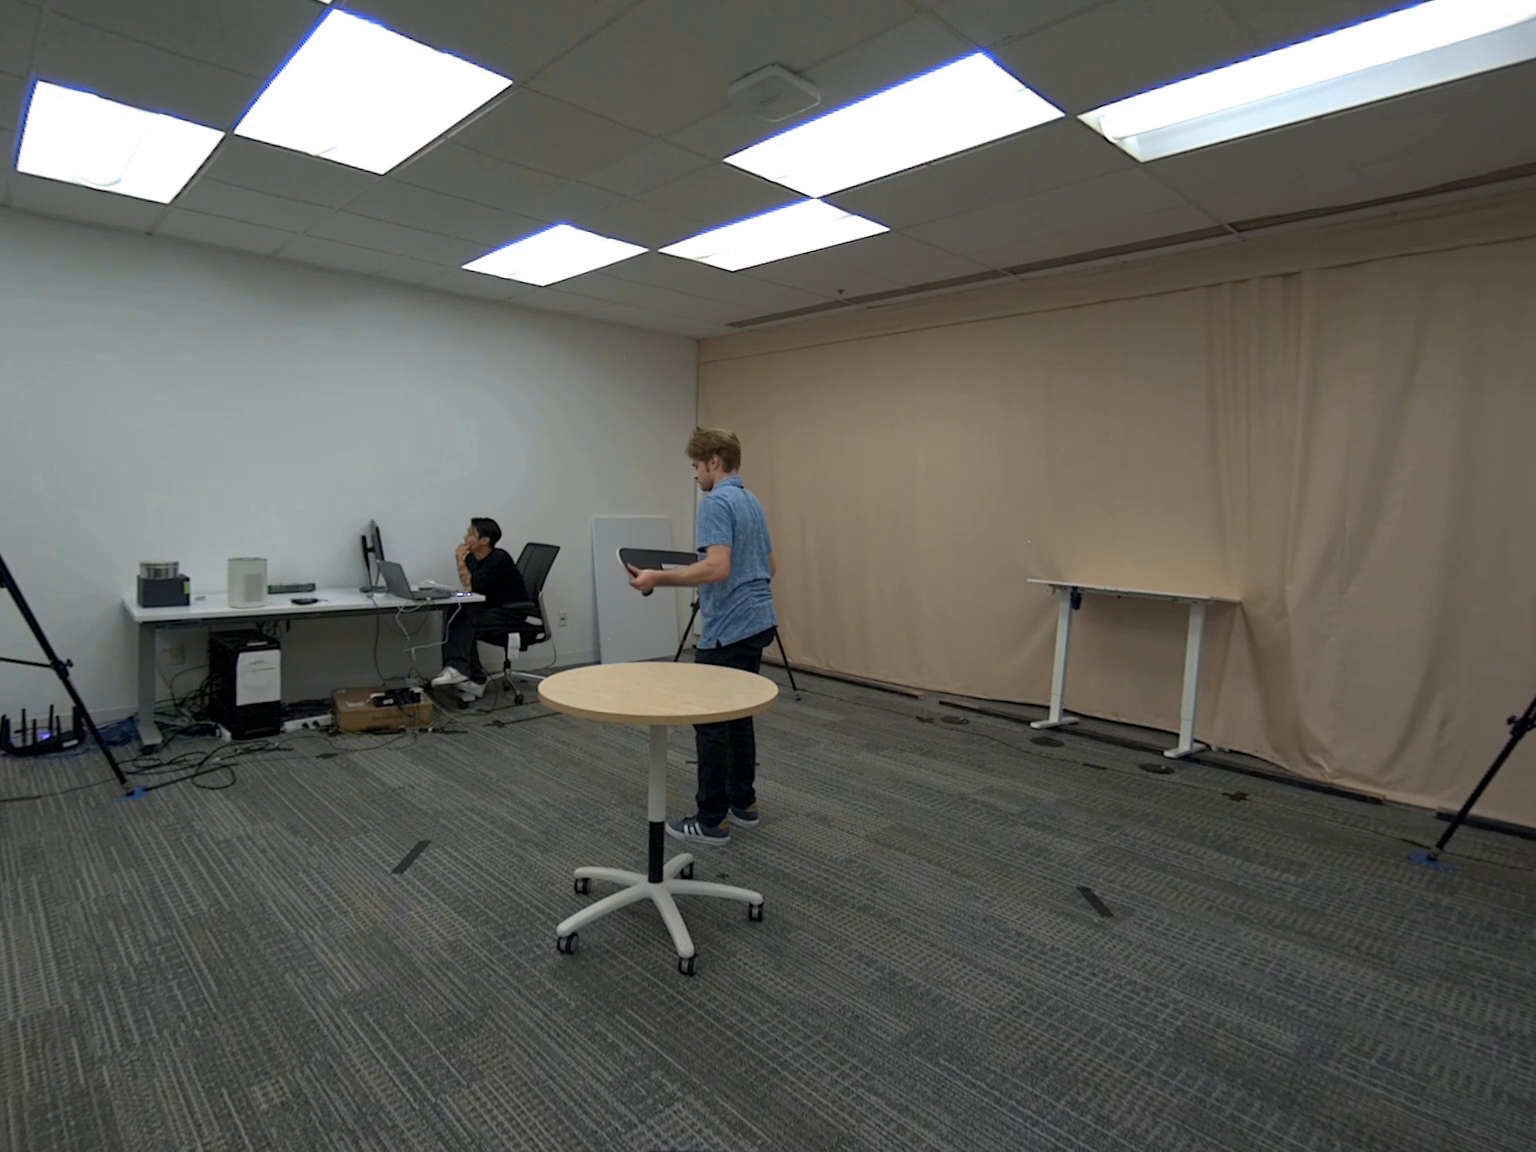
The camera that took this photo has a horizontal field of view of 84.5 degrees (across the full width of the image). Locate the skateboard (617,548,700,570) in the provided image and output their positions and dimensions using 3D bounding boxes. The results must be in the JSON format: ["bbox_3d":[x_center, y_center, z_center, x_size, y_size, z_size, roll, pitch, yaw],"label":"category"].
[{"bbox_3d":[-0.404,-0.007,3.660,0.110,0.197,0.768,-41,-20,24],"label":"skateboard"}]
